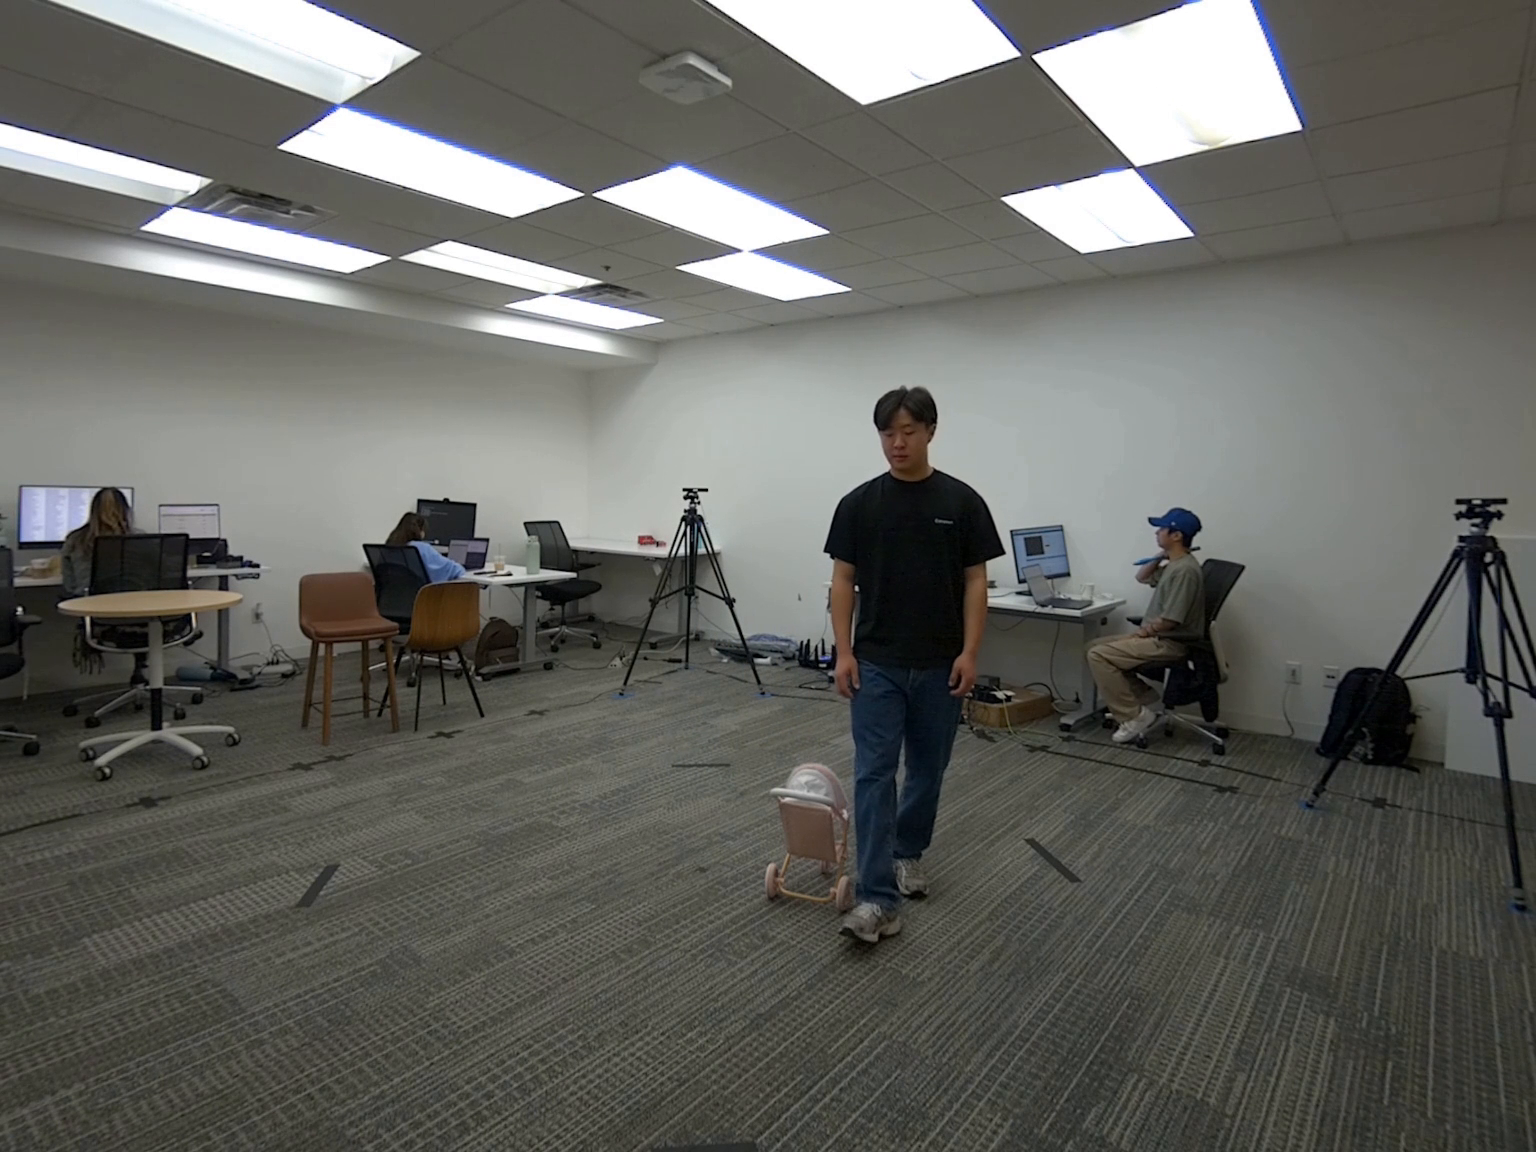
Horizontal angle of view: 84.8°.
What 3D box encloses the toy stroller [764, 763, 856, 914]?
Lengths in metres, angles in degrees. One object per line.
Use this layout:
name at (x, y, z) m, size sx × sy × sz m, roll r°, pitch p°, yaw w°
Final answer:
toy stroller at (0.151, 0.872, 2.925) m, size 0.288 × 0.525 × 0.339 m, roll 4°, pitch 20°, yaw 22°
